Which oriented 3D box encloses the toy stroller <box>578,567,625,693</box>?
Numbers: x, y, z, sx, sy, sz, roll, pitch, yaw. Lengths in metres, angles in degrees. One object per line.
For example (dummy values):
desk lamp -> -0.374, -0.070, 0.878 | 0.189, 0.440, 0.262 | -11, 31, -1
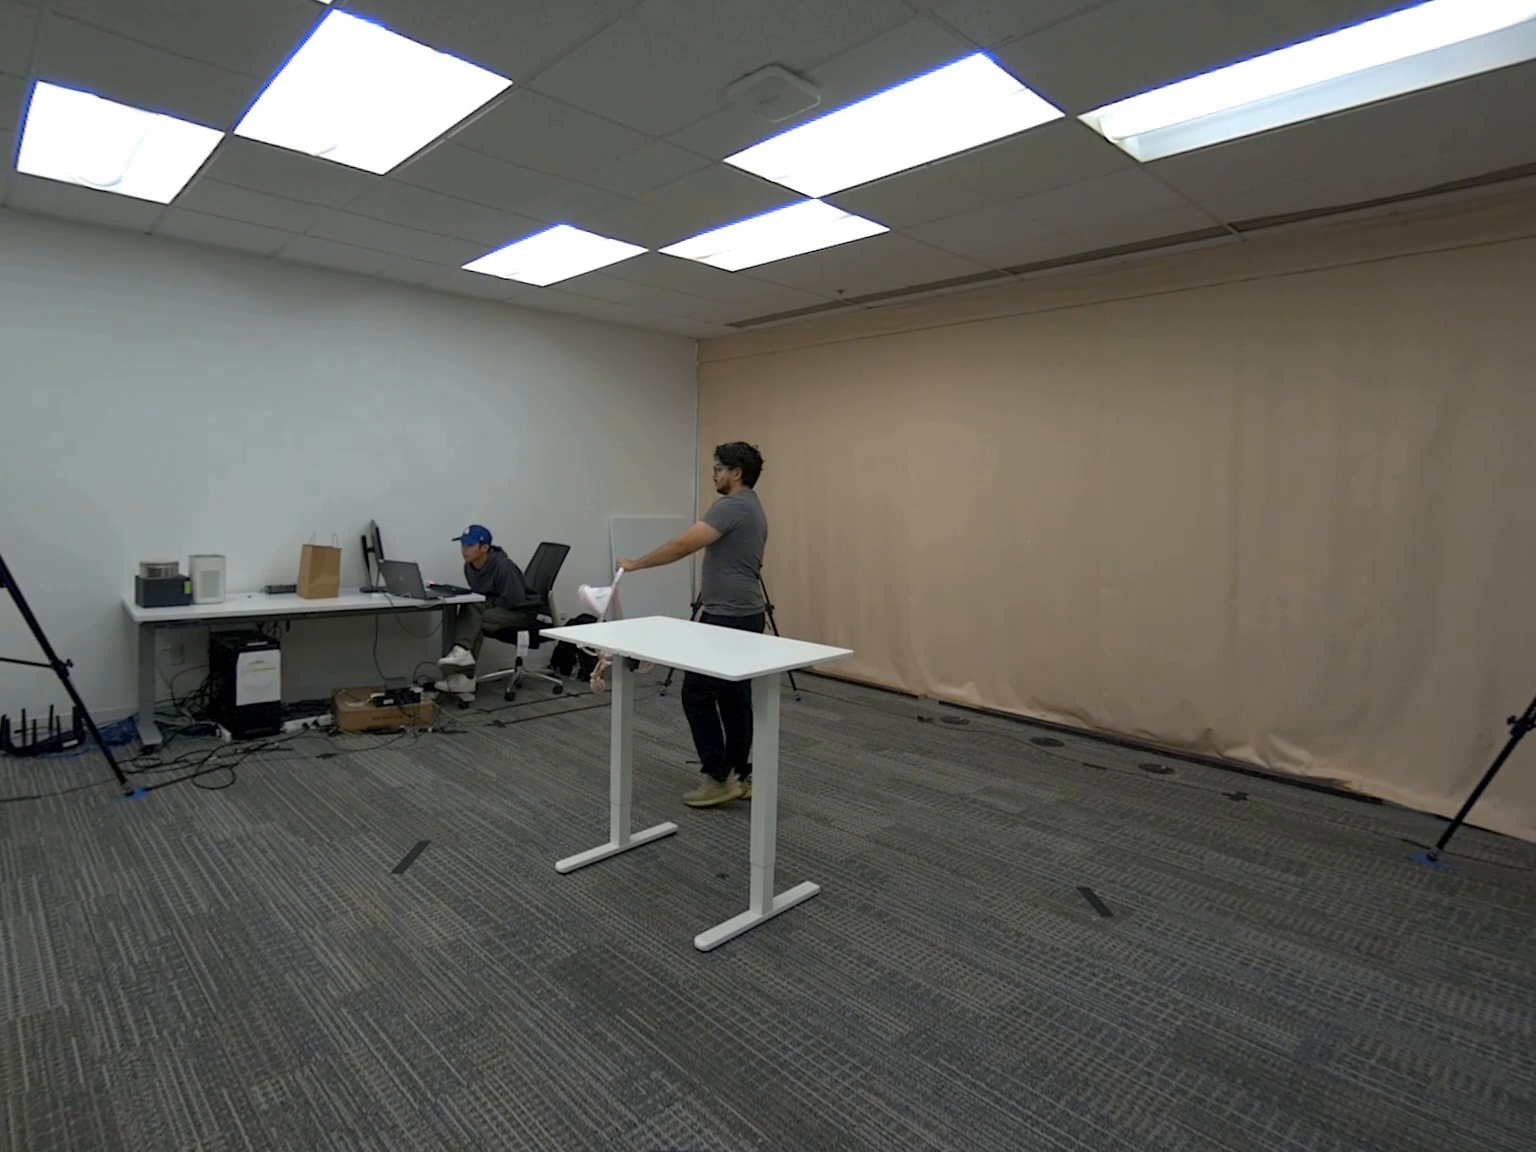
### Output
toy stroller -> -0.741, 0.251, 3.857 | 0.341, 0.529, 0.284 | -17, 11, 0
